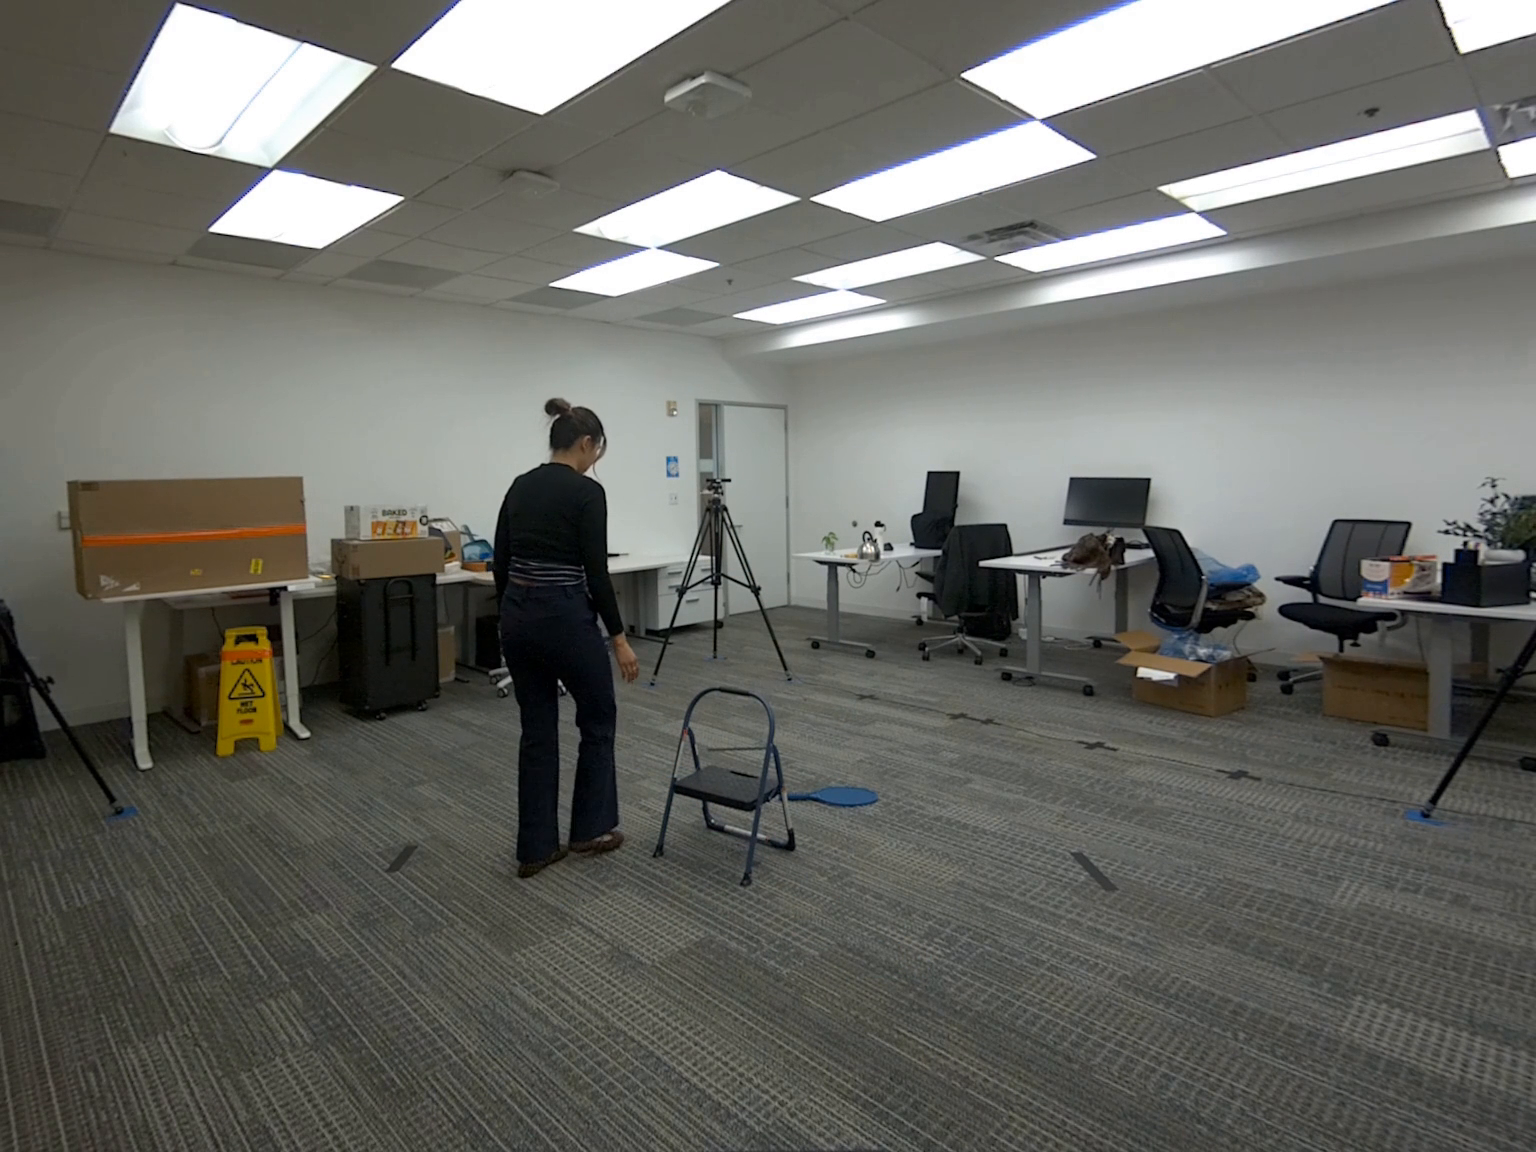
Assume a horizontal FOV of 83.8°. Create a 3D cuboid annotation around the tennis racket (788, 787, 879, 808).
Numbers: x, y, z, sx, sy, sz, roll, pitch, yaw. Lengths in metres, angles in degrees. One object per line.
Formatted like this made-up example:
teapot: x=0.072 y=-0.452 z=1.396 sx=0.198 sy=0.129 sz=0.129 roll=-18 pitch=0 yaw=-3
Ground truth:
tennis racket: x=0.262 y=0.952 z=3.714 sx=0.430 sy=0.031 sz=0.216 roll=0 pitch=6 yaw=-7
